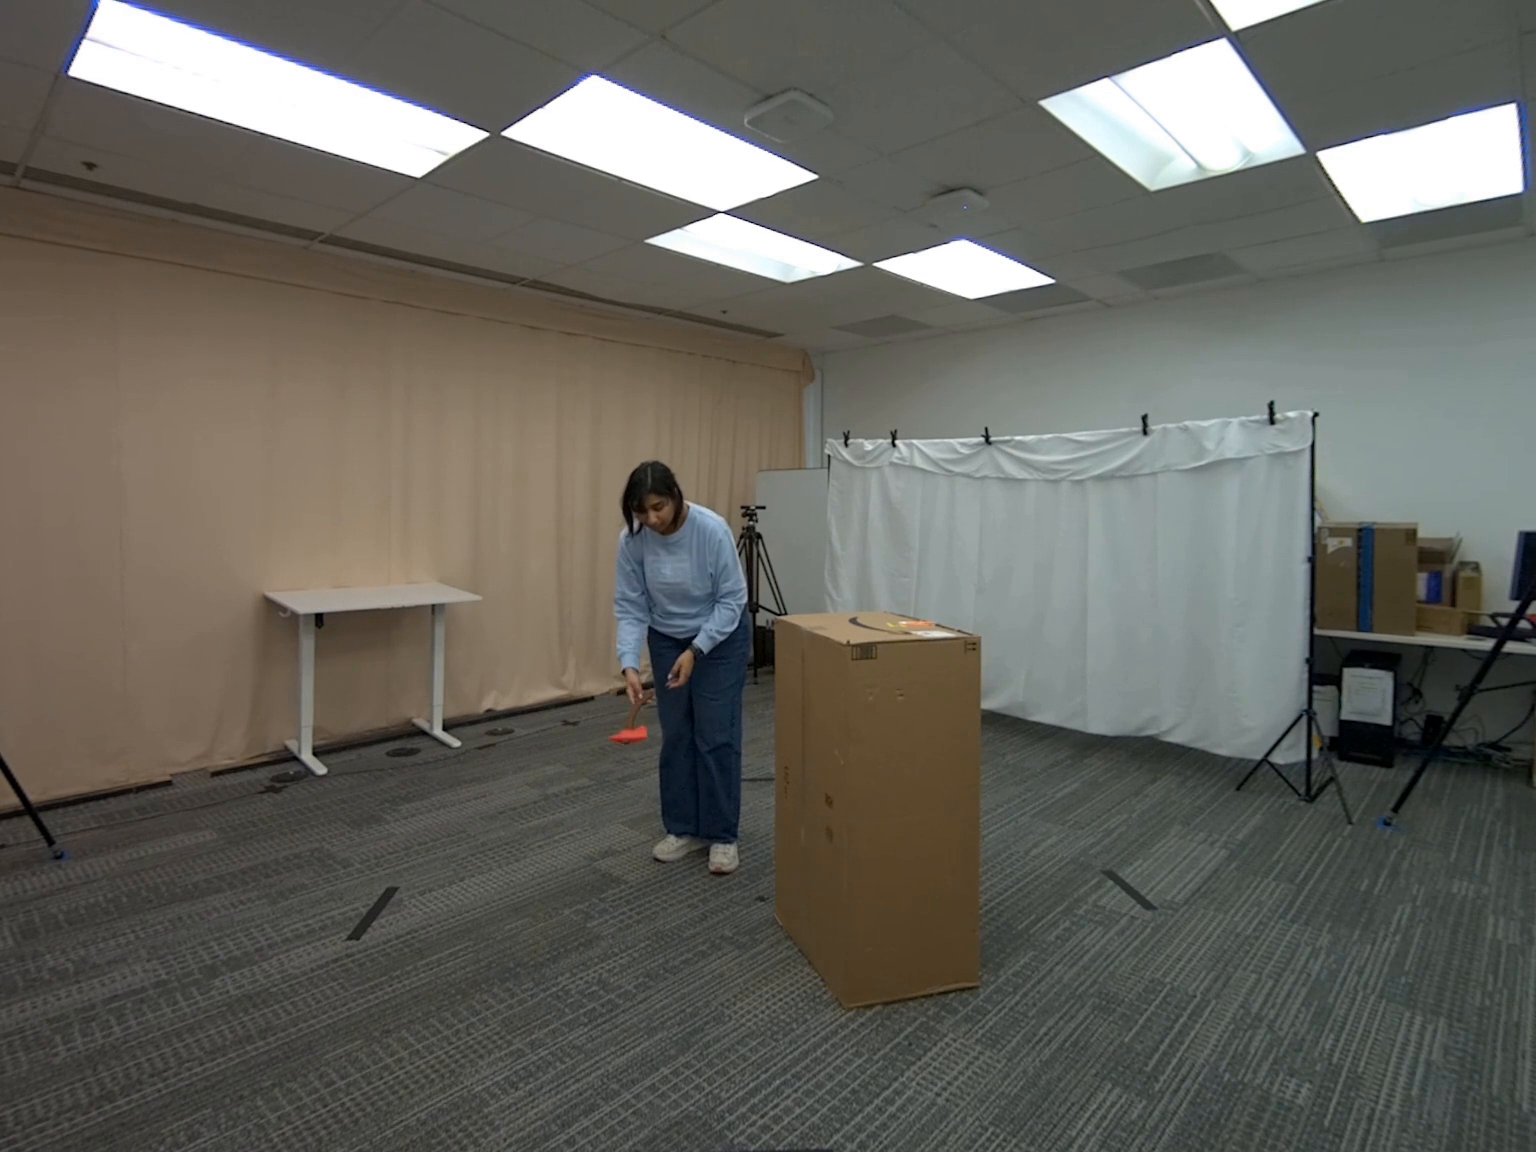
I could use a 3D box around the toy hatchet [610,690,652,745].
[{"bbox_3d":[-0.434,0.494,2.966,0.135,0.029,0.268,4,32,27],"label":"toy hatchet"}]
